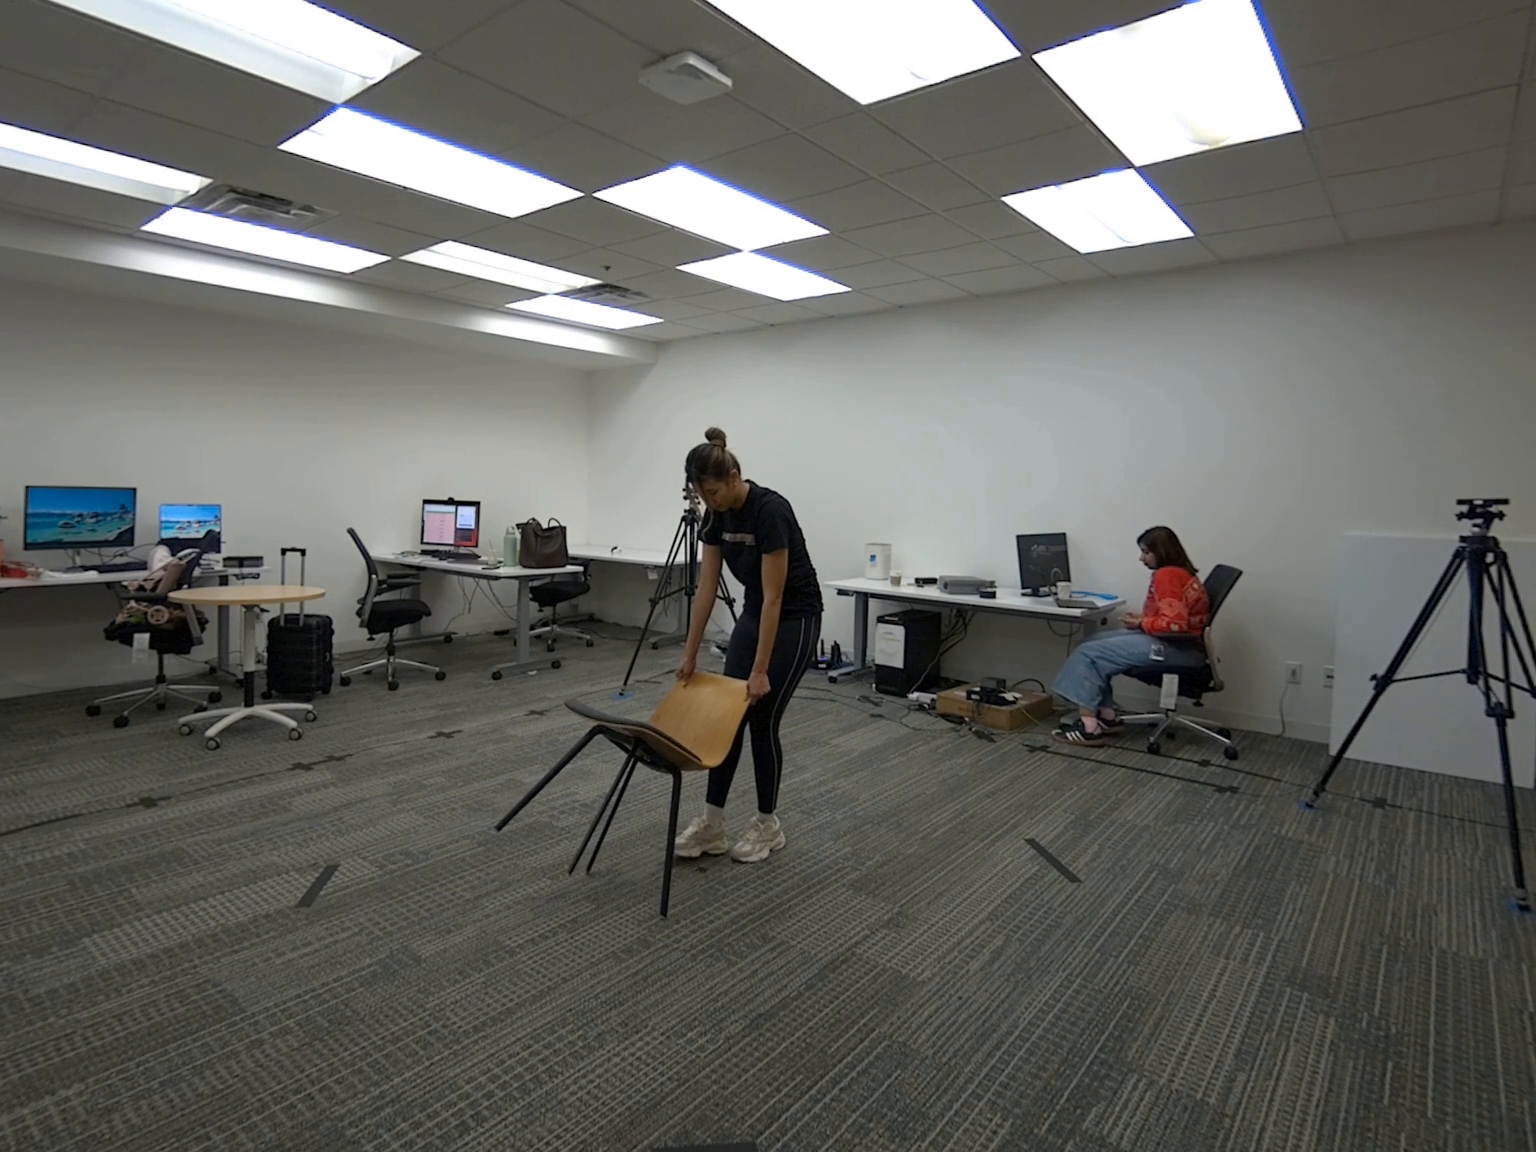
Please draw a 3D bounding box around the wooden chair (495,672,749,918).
[{"bbox_3d":[-0.461,0.598,2.908,0.494,0.883,0.502,4,-34,46],"label":"wooden chair"}]
